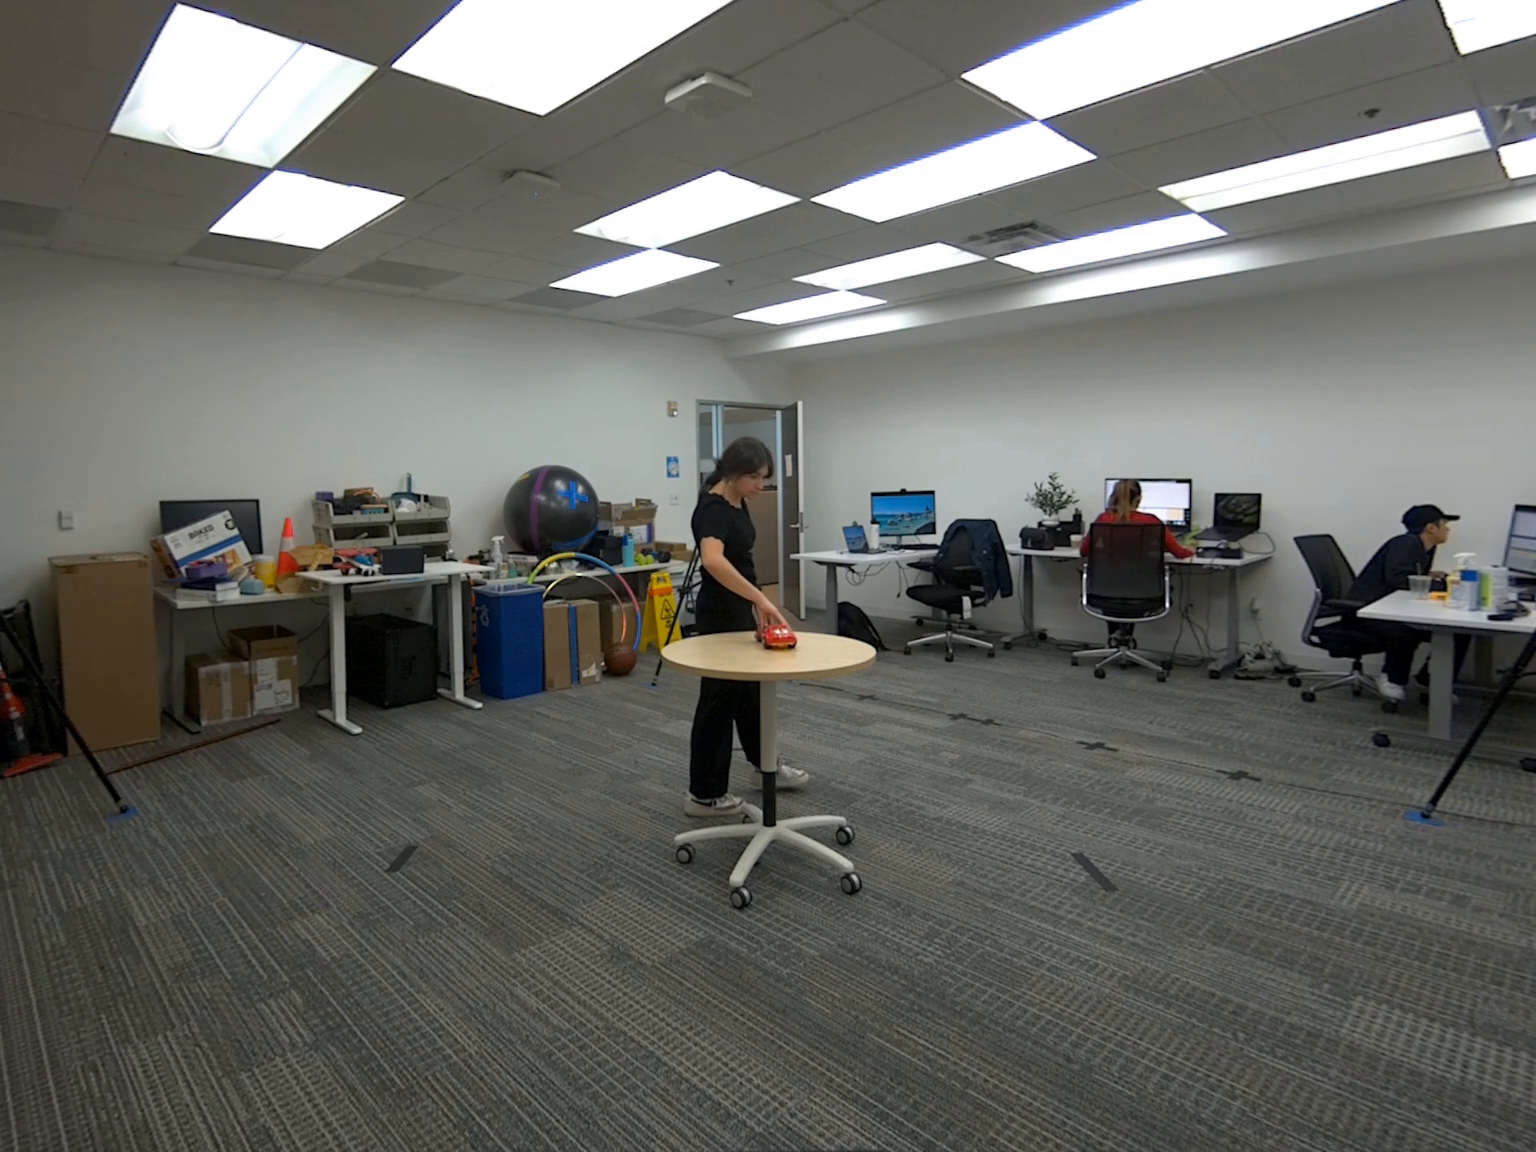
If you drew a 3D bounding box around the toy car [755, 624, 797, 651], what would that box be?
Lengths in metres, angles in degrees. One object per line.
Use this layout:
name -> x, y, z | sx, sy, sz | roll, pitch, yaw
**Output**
toy car -> 0.034, 0.225, 3.127 | 0.129, 0.084, 0.255 | 1, -7, -10
